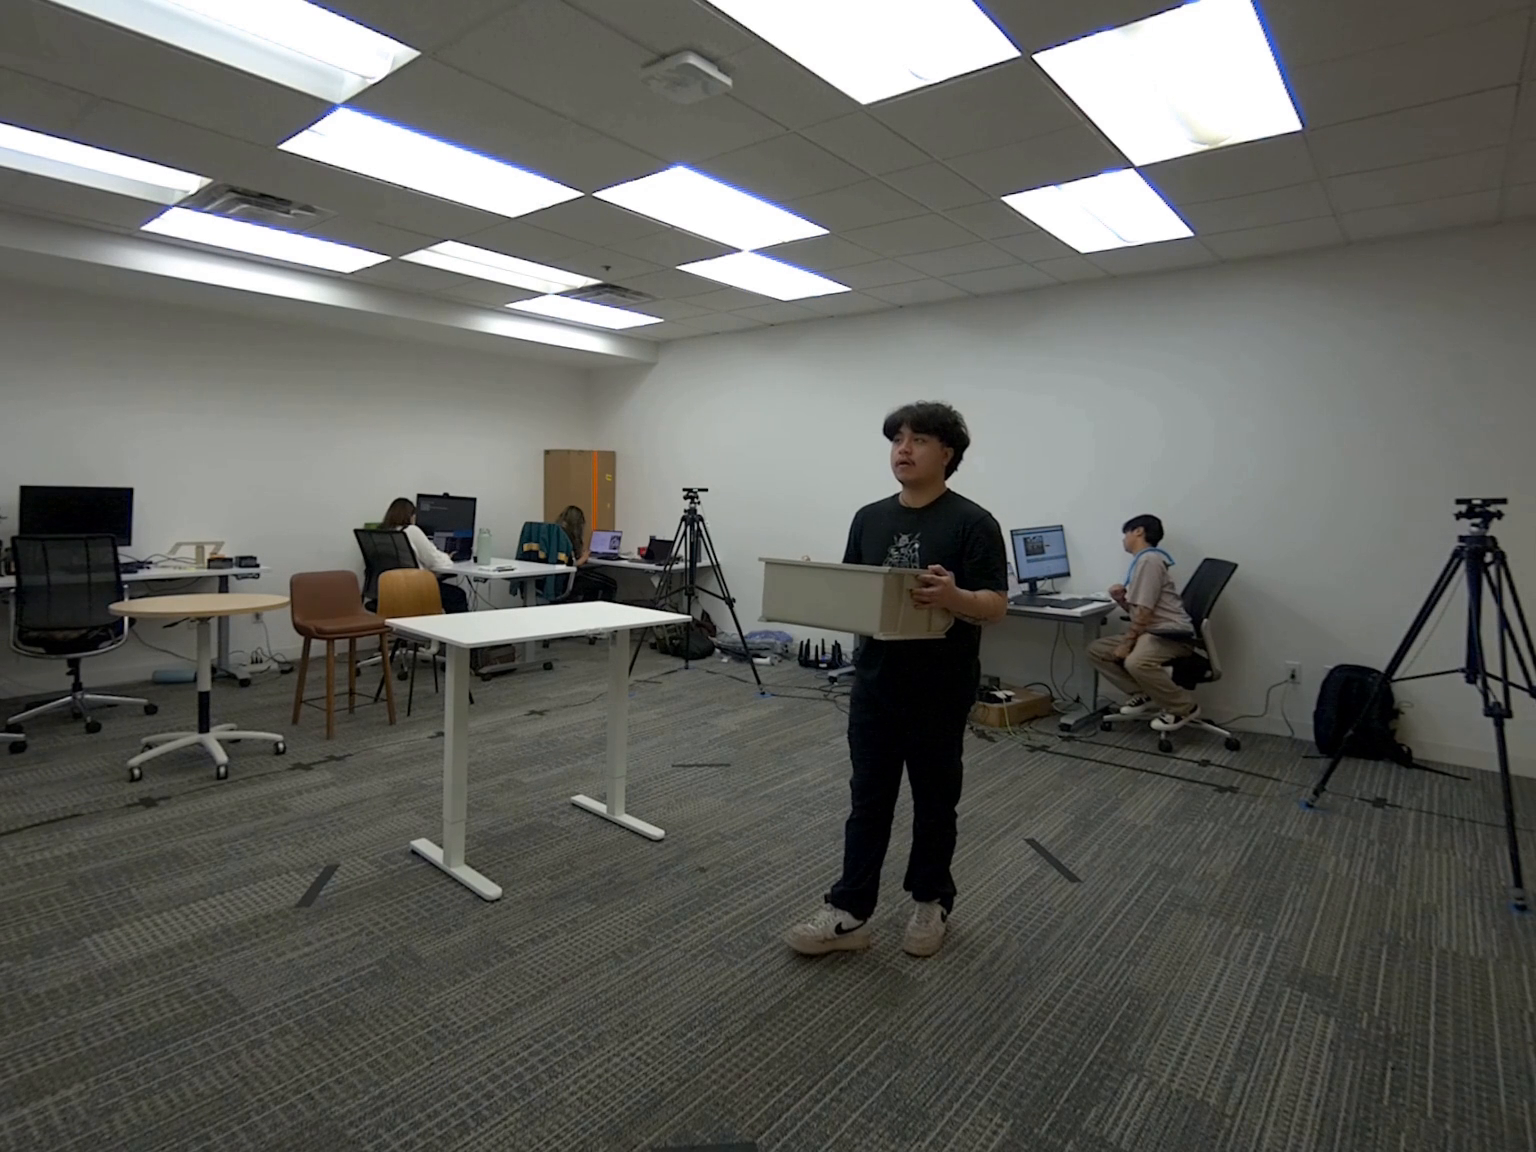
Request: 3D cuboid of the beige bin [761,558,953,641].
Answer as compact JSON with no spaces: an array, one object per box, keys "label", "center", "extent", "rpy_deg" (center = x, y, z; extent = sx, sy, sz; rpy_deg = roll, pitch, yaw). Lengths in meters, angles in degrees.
[{"label":"beige bin","center":[0.236,0.052,2.354],"extent":[0.437,0.189,0.365],"rpy_deg":[7,3,42]}]
